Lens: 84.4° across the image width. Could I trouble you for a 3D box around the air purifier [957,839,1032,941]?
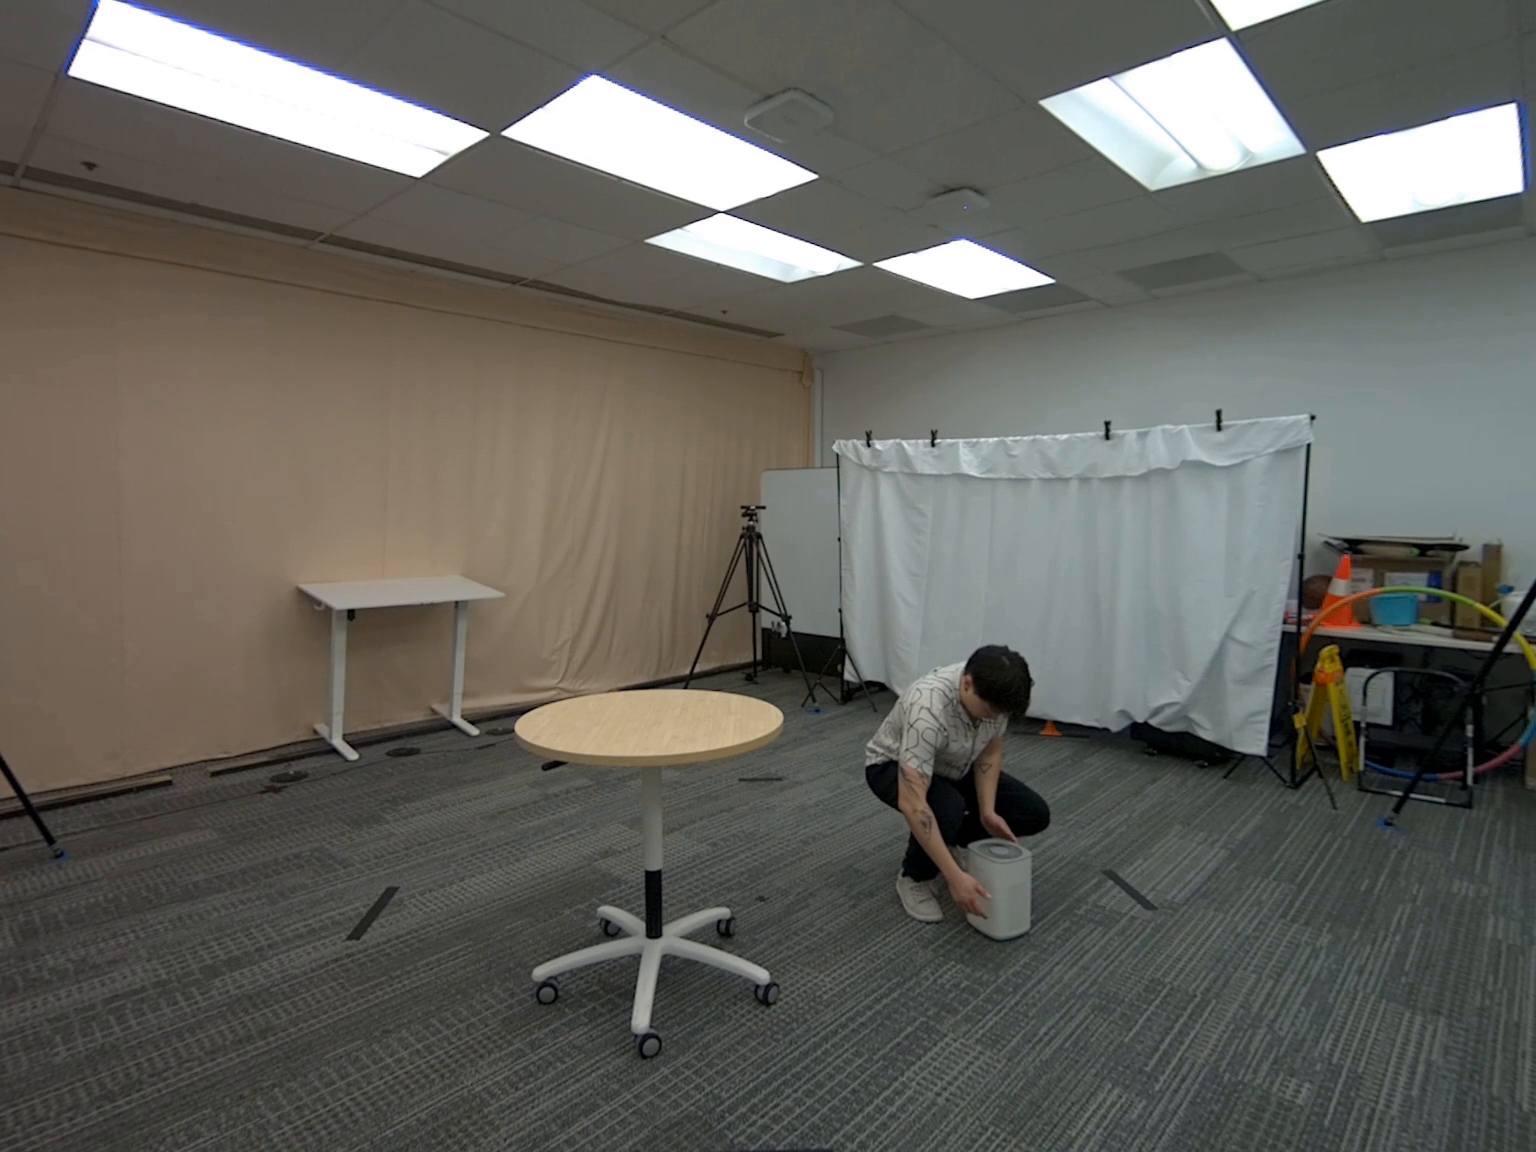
[{"bbox_3d":[0.753,1.019,2.763,0.167,0.264,0.176,-3,6,-31],"label":"air purifier"}]
